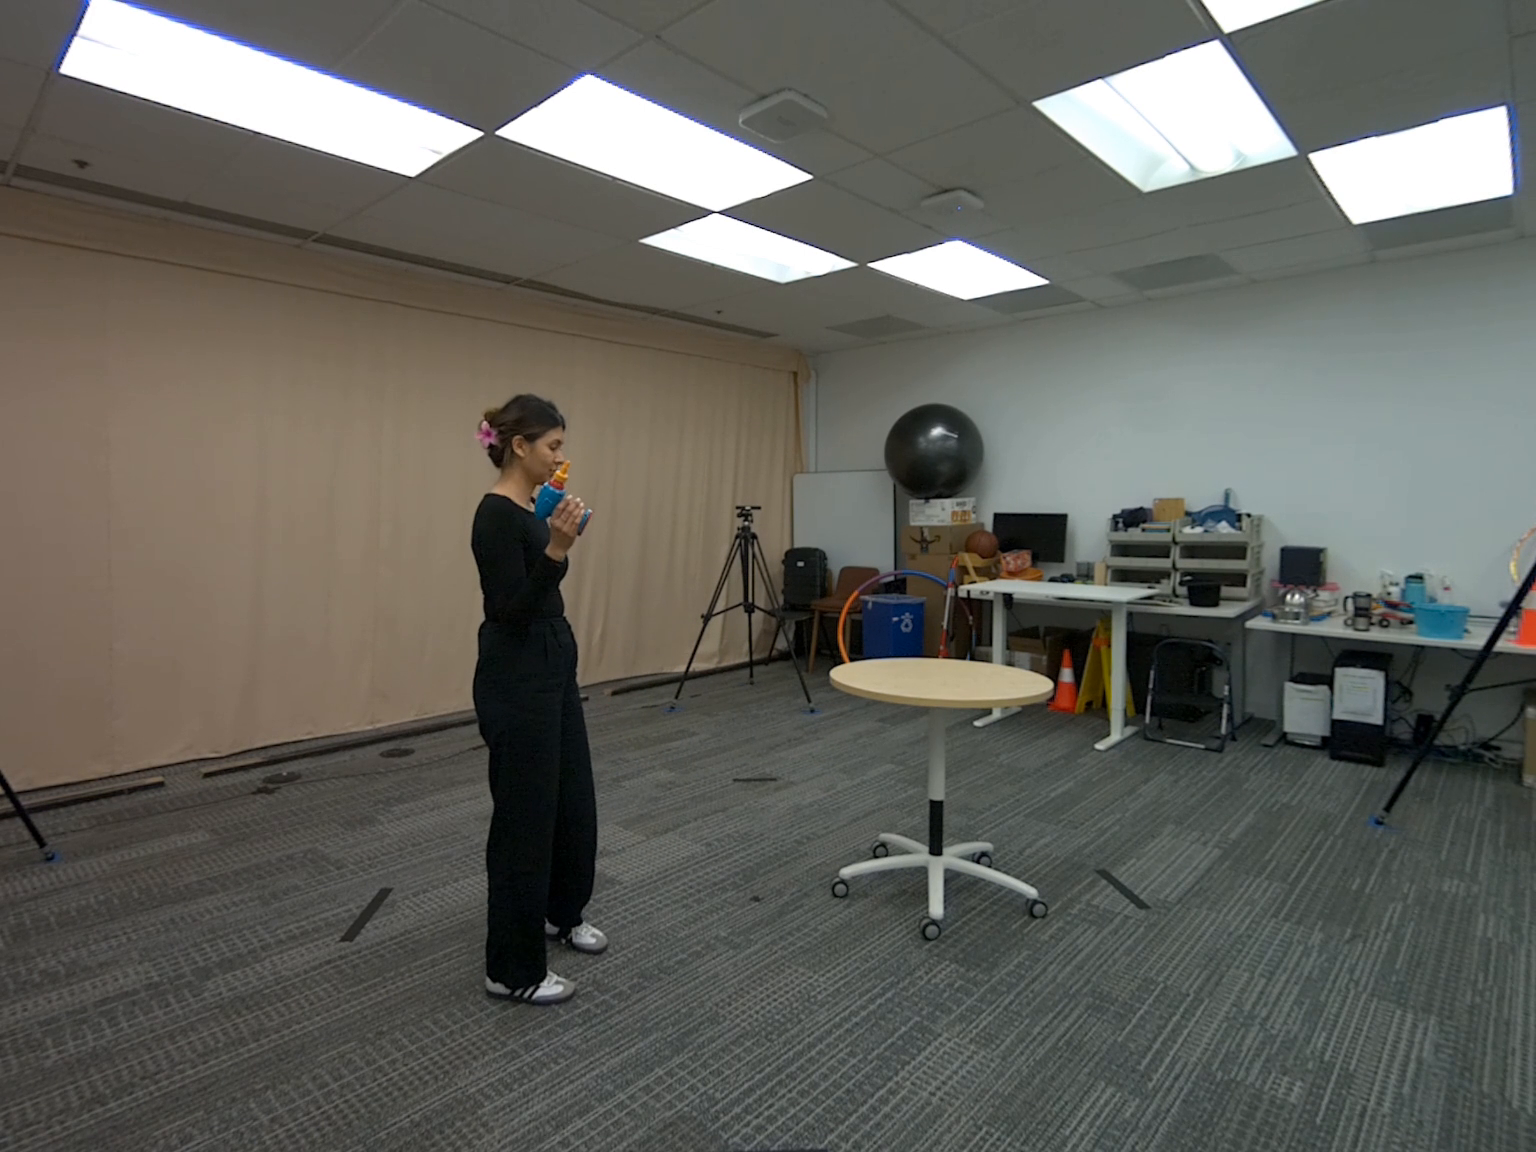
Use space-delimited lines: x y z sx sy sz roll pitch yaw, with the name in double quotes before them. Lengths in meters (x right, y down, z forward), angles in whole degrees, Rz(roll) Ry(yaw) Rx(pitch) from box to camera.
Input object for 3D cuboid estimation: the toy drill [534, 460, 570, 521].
"toy drill" -0.507 -0.198 2.123 0.144 0.170 0.062 30 8 -10
